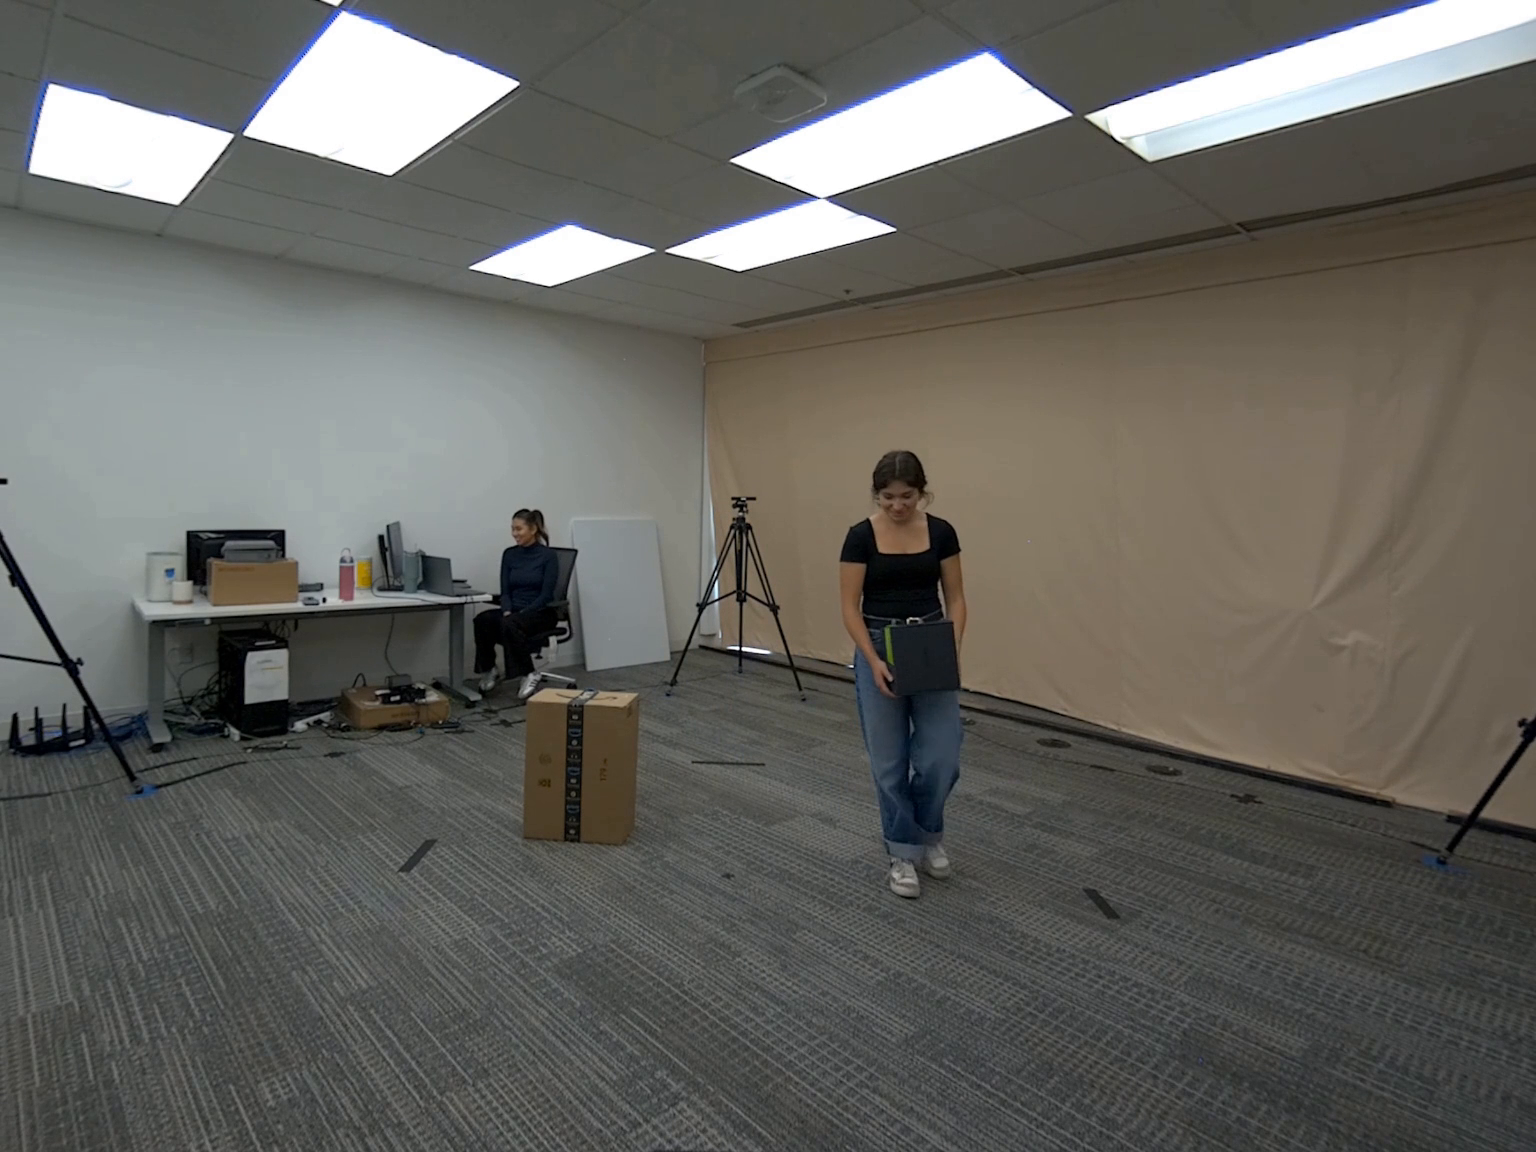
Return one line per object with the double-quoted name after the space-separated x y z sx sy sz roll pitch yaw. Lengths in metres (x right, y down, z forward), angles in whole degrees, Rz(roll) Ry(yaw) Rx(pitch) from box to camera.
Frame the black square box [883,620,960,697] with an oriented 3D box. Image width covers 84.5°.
0.500 0.273 2.847 0.217 0.228 0.156 -5 -2 -1 "black square box"
